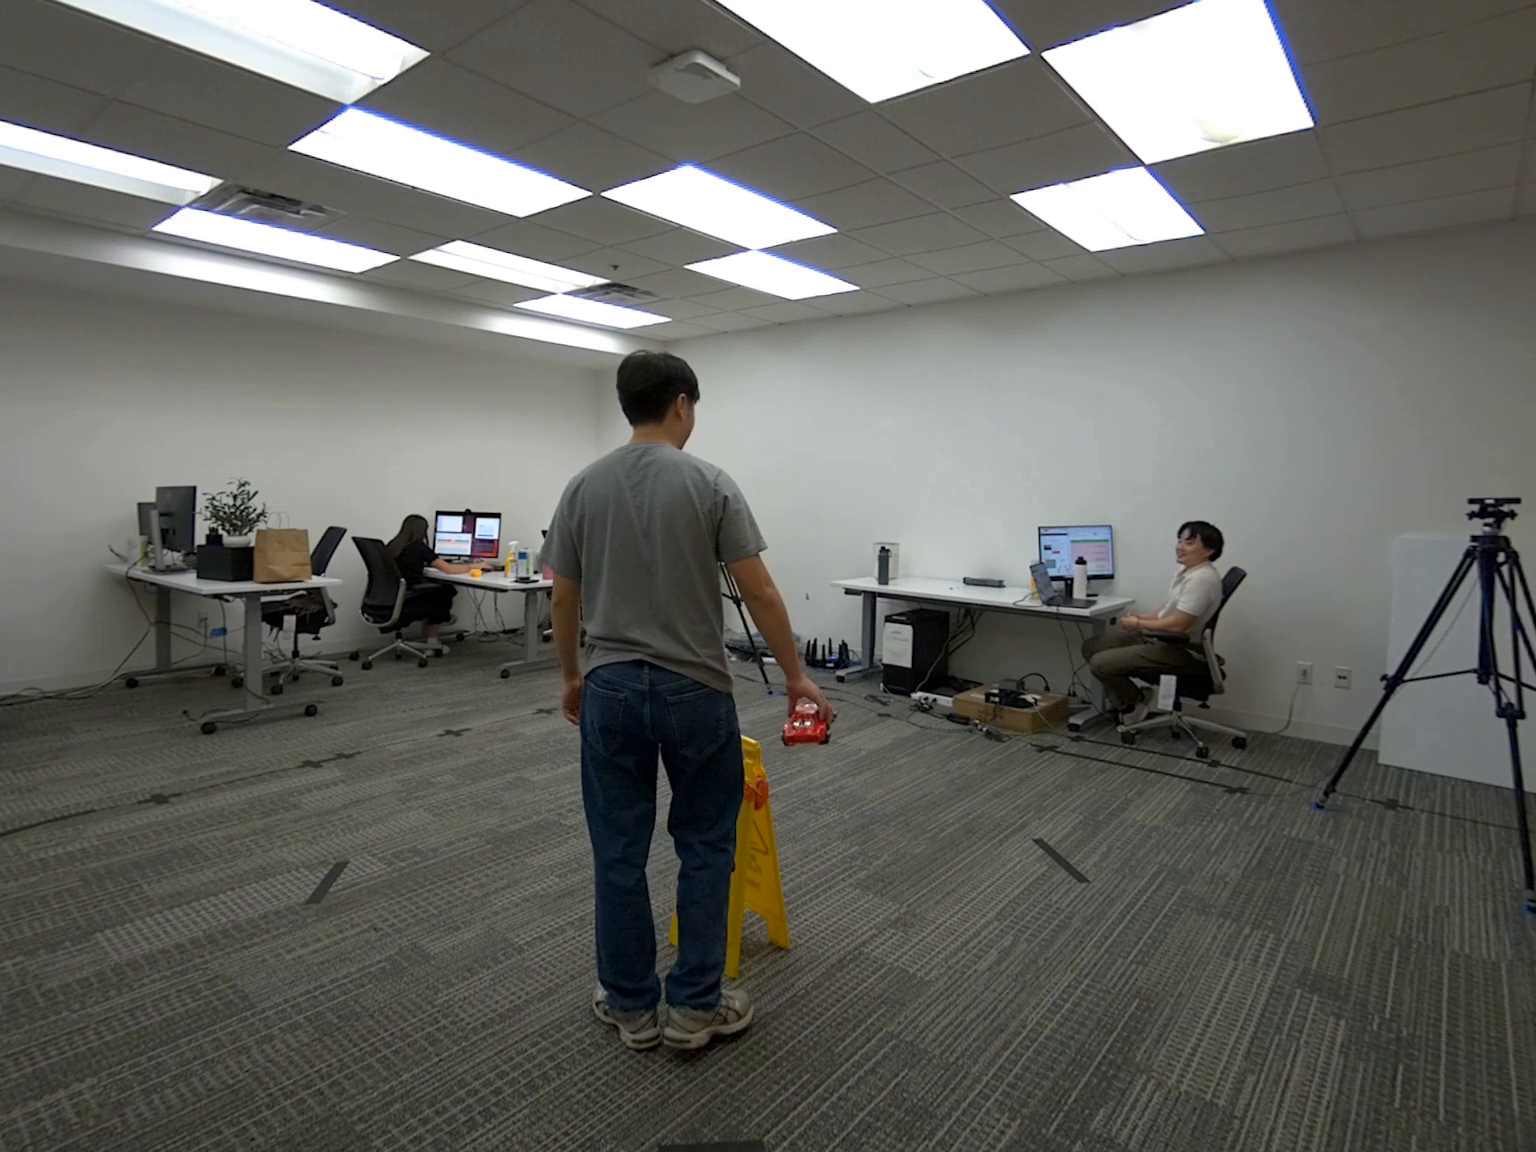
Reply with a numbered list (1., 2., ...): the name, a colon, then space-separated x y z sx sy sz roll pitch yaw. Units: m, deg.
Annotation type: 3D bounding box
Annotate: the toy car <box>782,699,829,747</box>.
1. toy car: 0.094 0.394 2.227 0.132 0.083 0.251 -5 0 12
